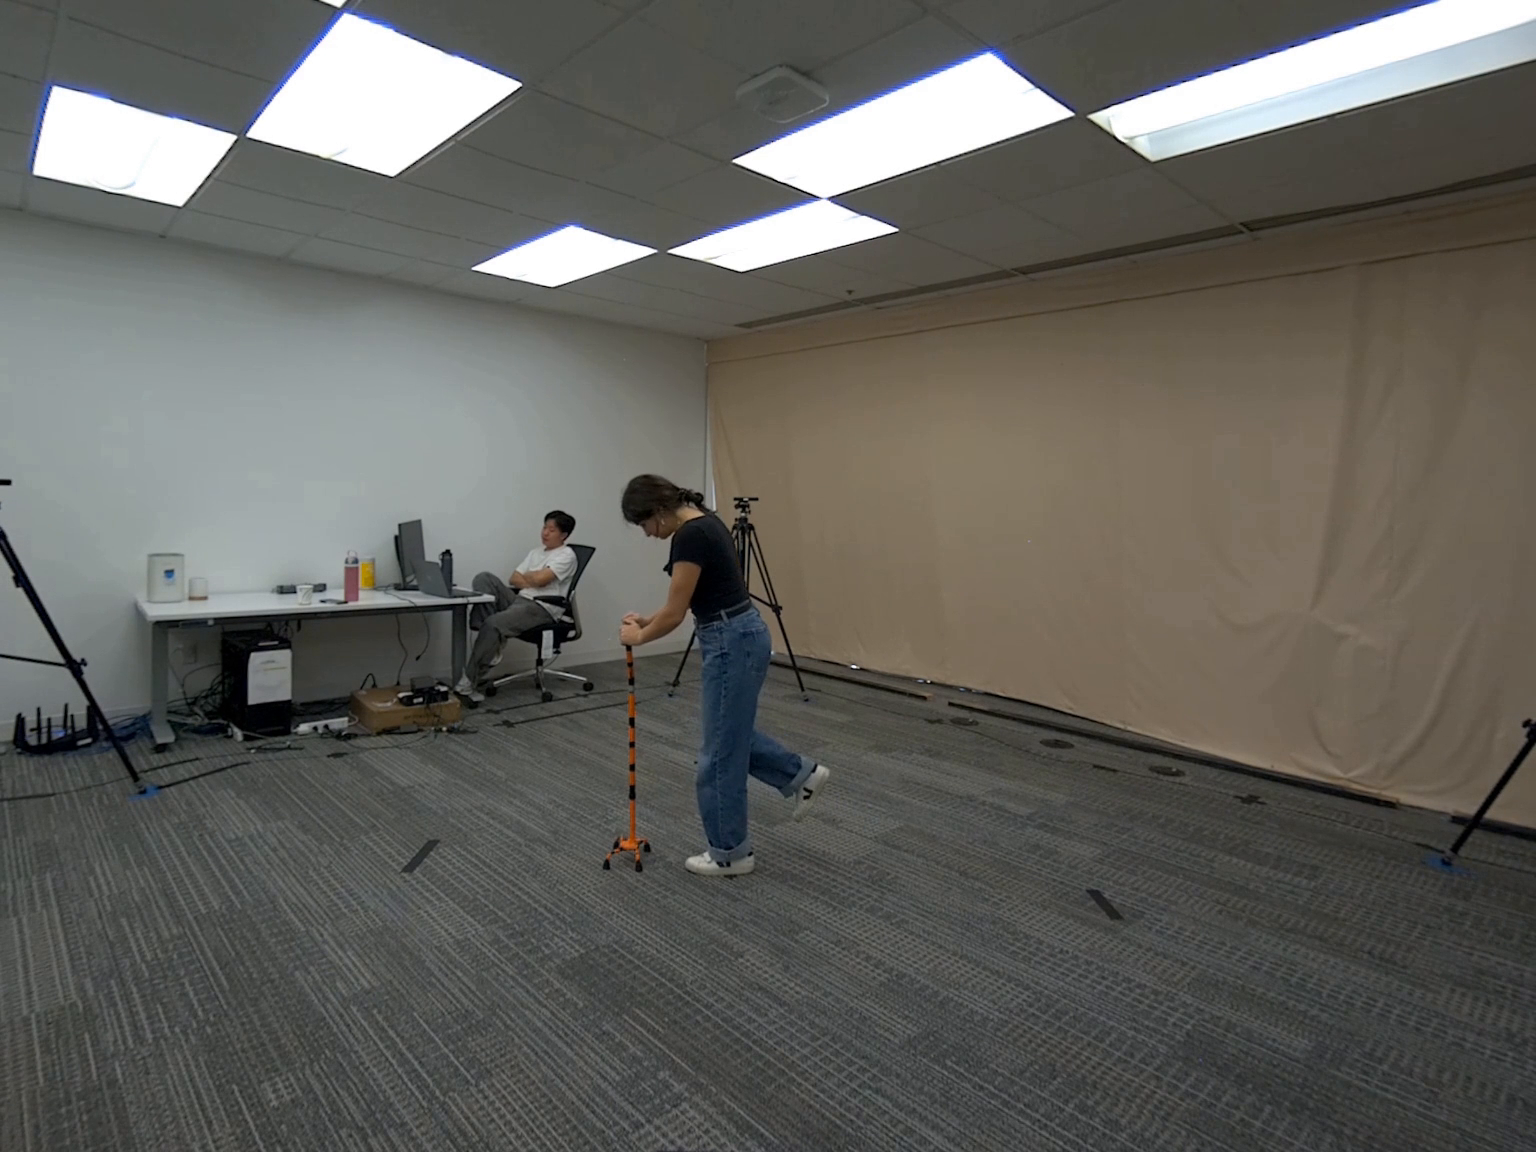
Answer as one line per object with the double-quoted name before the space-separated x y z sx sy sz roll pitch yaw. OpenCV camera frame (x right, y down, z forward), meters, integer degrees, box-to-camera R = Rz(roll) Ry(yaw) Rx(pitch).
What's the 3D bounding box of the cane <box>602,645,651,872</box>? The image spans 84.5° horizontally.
"cane" -0.539 0.629 3.210 0.152 0.906 0.206 1 2 2
